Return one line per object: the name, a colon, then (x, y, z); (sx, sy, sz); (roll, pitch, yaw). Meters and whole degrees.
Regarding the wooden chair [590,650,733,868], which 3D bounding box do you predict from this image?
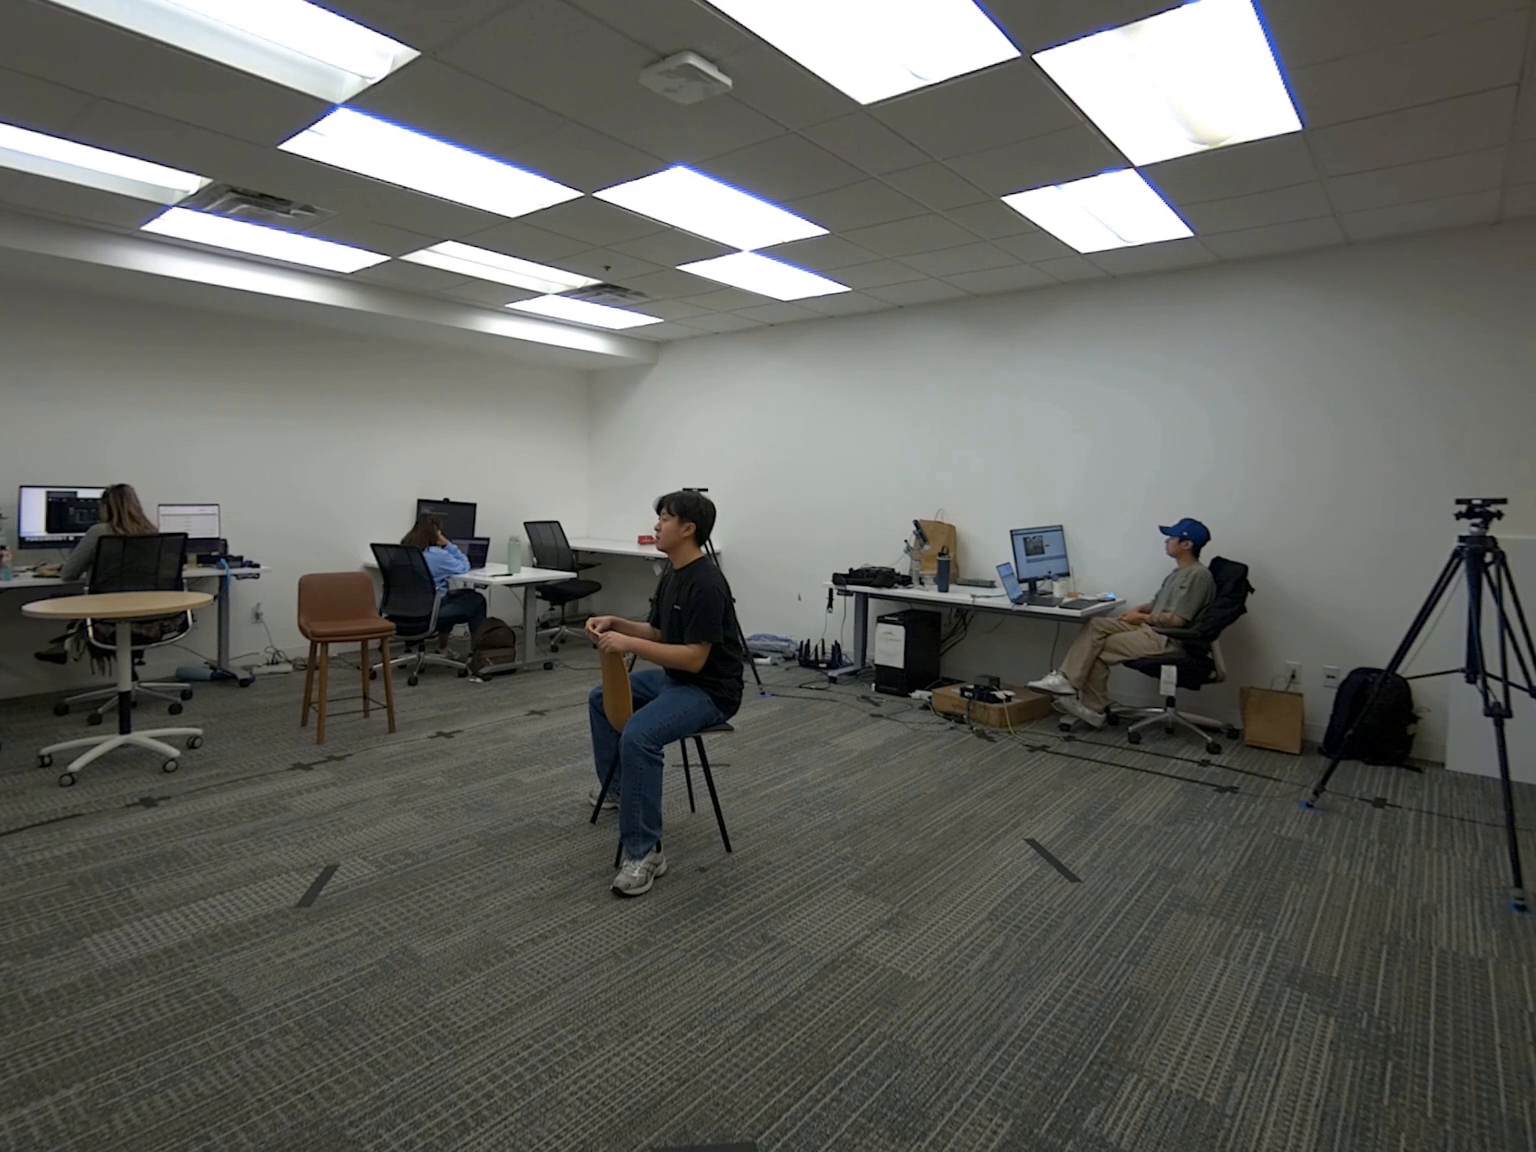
wooden chair: (-0.429, 0.615, 3.368); (0.513, 0.874, 0.489); (-4, 4, -22)
